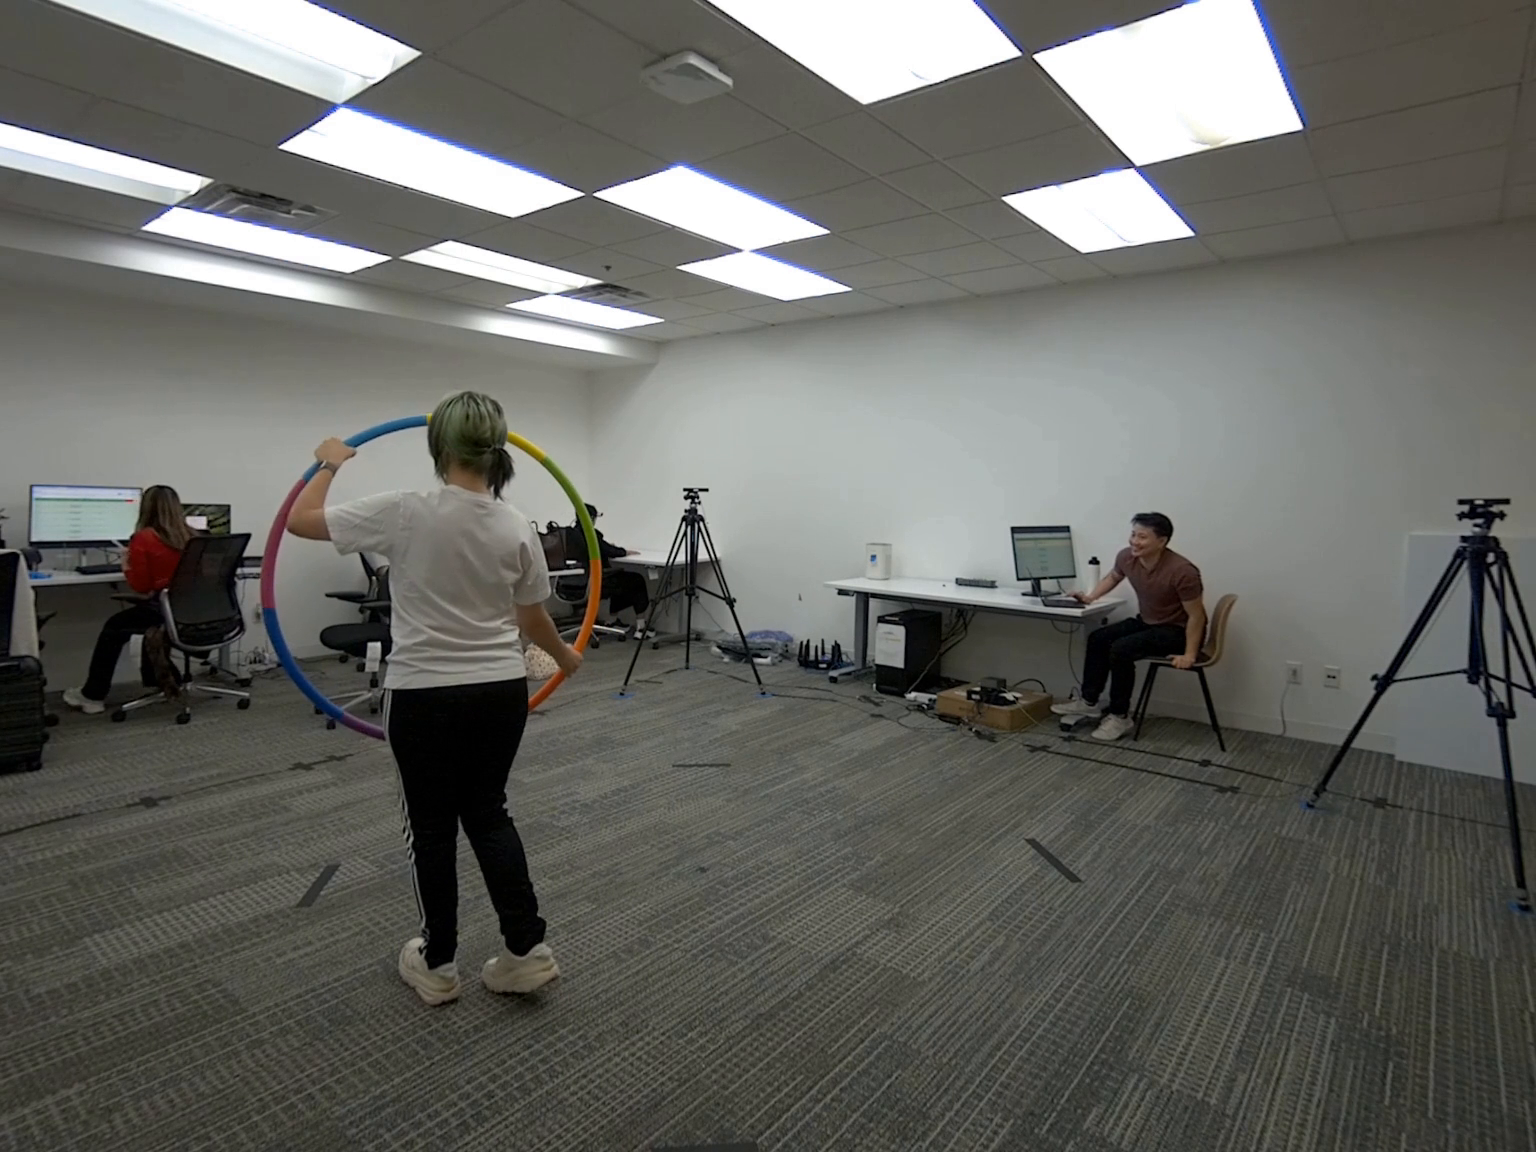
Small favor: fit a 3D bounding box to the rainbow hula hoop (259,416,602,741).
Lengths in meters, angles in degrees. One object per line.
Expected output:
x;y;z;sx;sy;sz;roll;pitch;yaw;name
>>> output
-0.979;0.017;2.538;0.953;0.976;0.036;-1;3;-29;rainbow hula hoop
